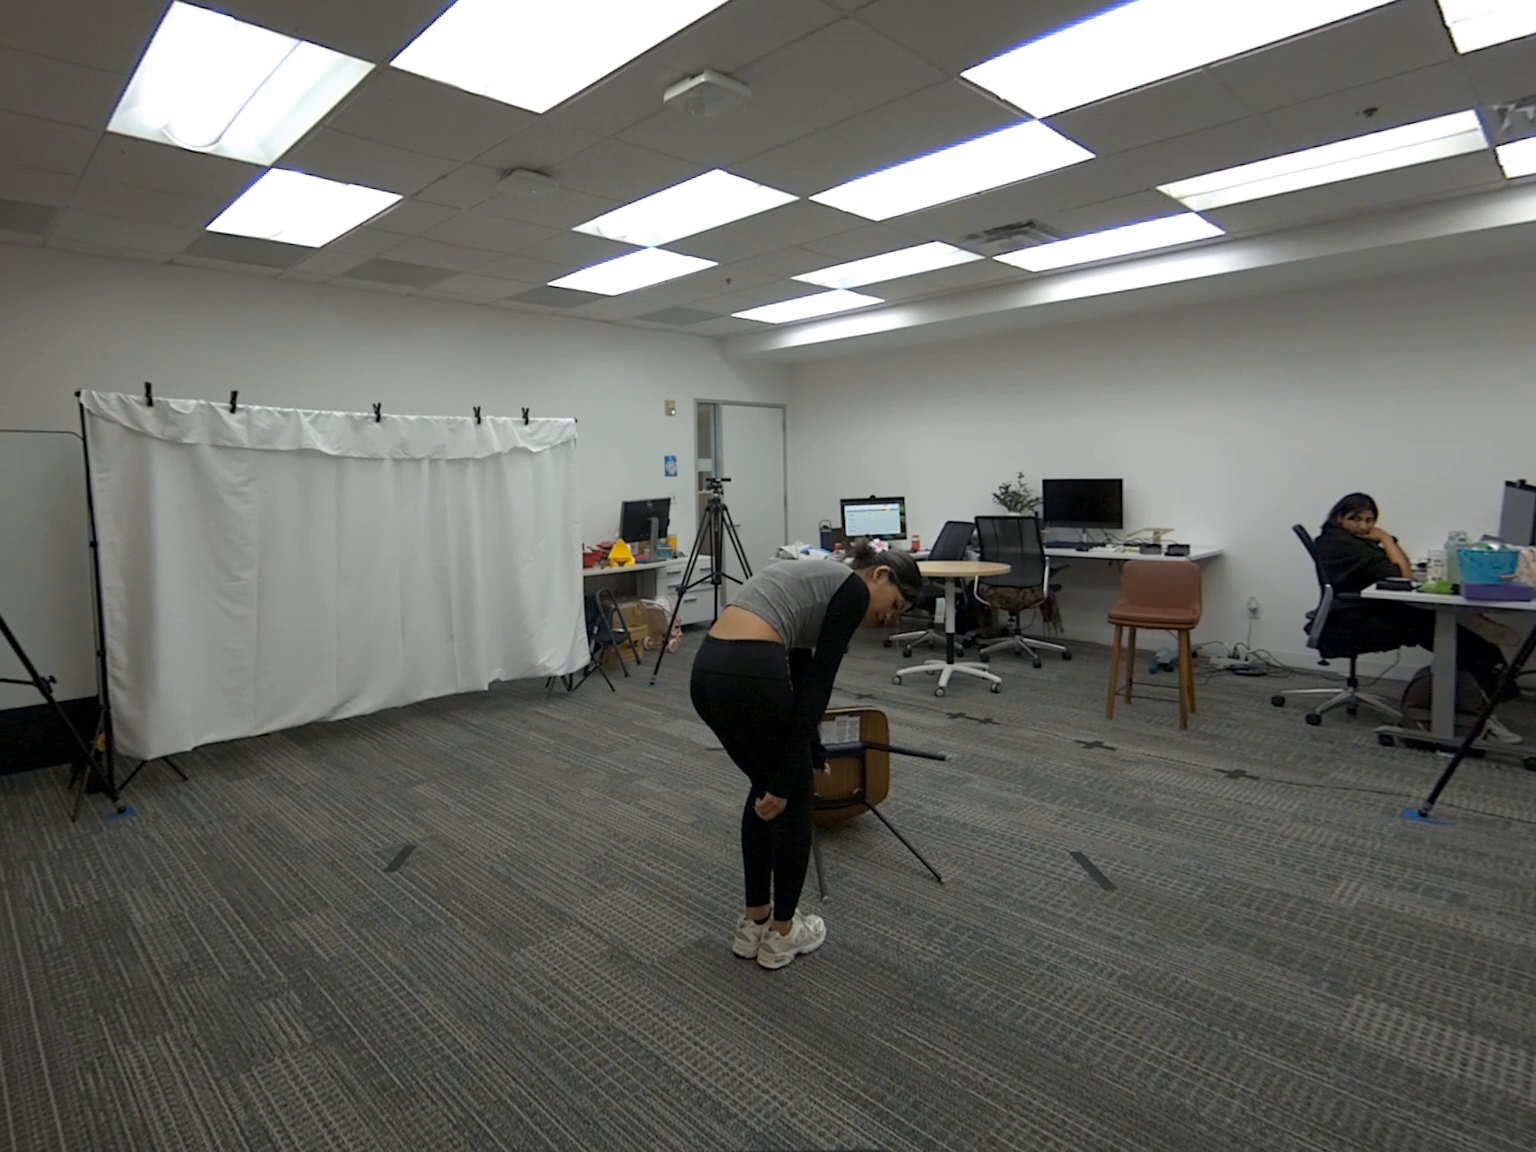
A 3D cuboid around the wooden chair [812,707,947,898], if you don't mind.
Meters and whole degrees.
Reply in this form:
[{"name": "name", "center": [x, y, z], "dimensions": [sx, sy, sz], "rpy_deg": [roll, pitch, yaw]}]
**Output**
[{"name": "wooden chair", "center": [0.269, 0.761, 3.244], "dimensions": [0.471, 0.521, 0.893], "rpy_deg": [-3, 5, -16]}]
